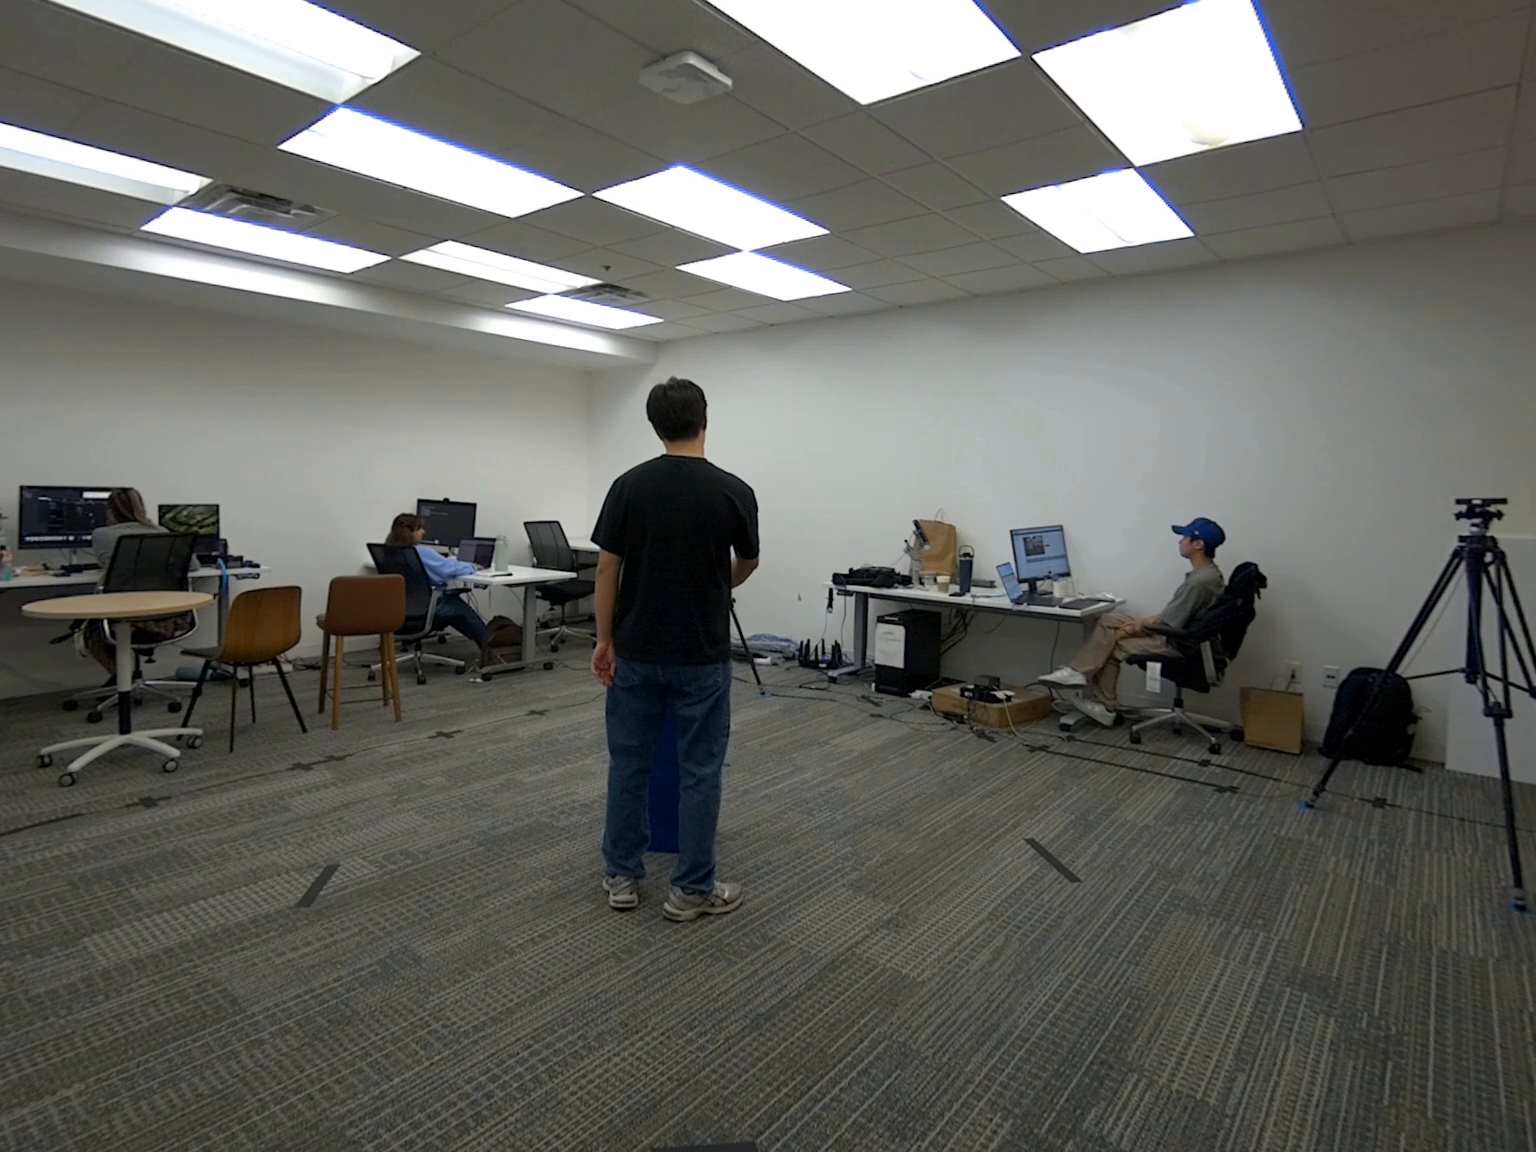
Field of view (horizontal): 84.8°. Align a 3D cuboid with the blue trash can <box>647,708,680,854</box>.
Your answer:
[{"bbox_3d":[-0.422,0.678,3.385,0.381,0.710,0.372,2,5,7],"label":"blue trash can"}]
